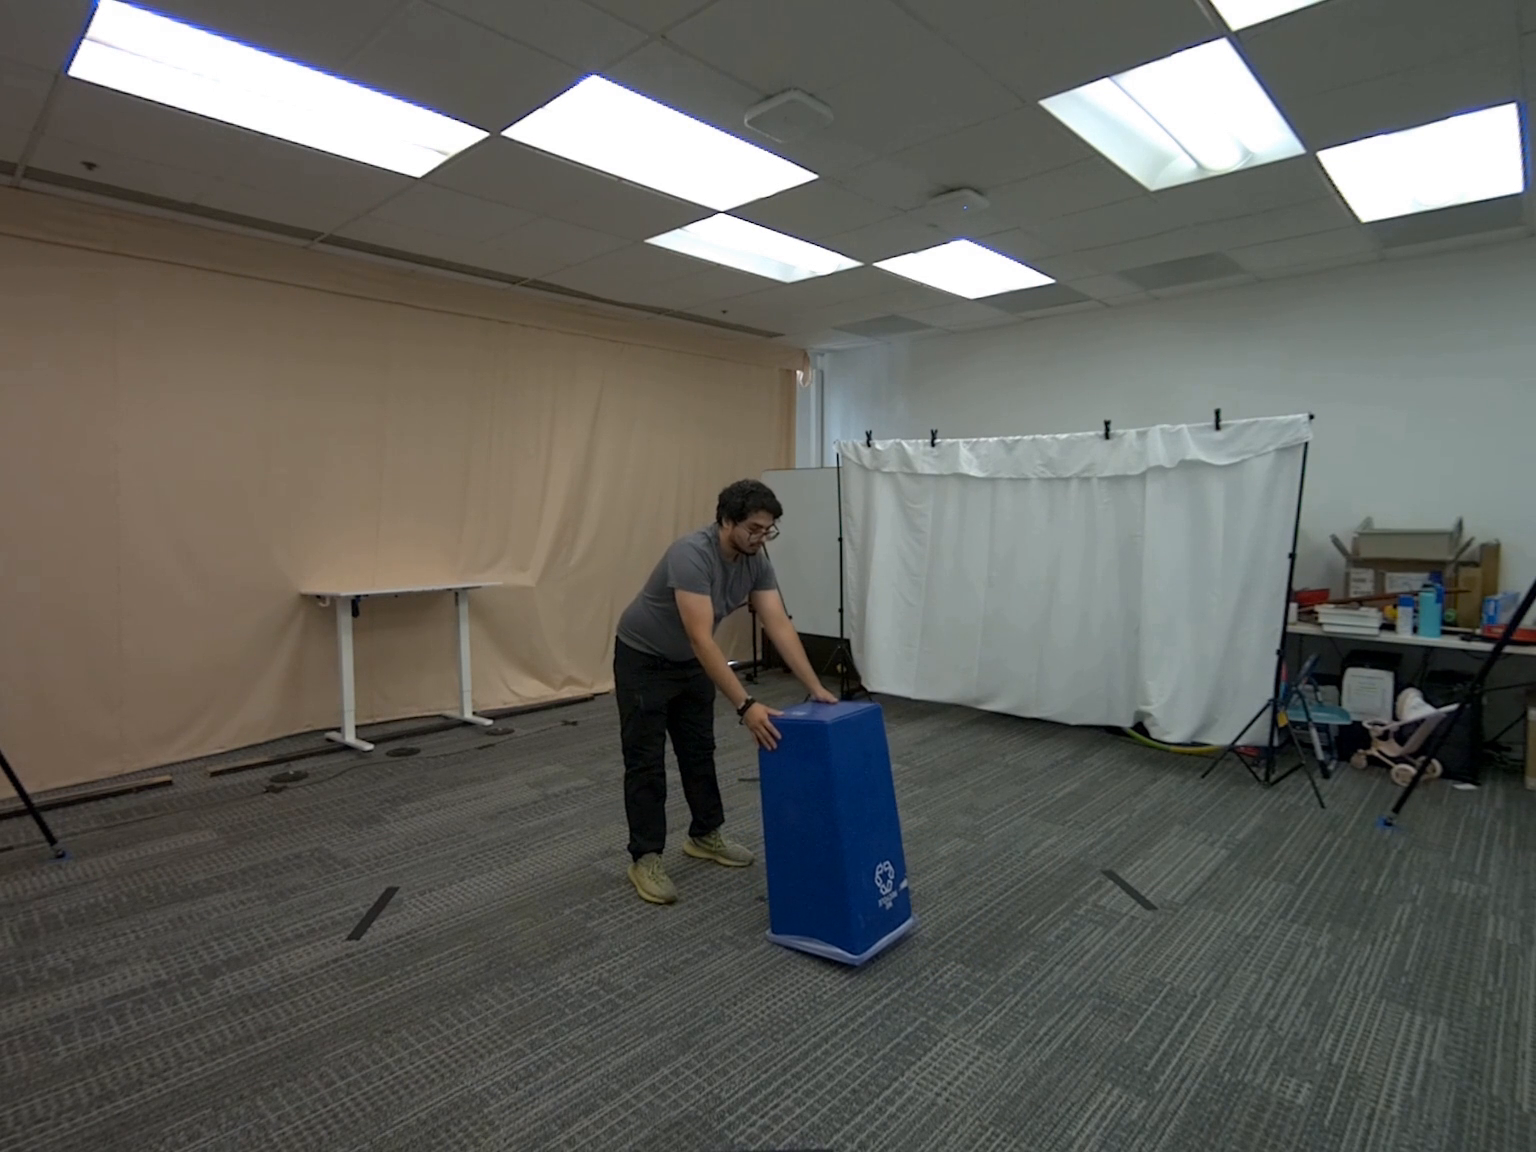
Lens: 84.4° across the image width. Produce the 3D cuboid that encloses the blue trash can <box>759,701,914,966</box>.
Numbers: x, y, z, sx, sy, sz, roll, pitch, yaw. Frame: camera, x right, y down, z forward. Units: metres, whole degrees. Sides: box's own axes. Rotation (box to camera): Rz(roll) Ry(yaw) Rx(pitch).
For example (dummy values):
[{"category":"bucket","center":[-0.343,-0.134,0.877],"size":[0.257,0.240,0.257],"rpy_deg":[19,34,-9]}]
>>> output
[{"category":"blue trash can","center":[0.200,0.792,2.724],"size":[0.389,0.714,0.363],"rpy_deg":[-8,-2,42]}]
